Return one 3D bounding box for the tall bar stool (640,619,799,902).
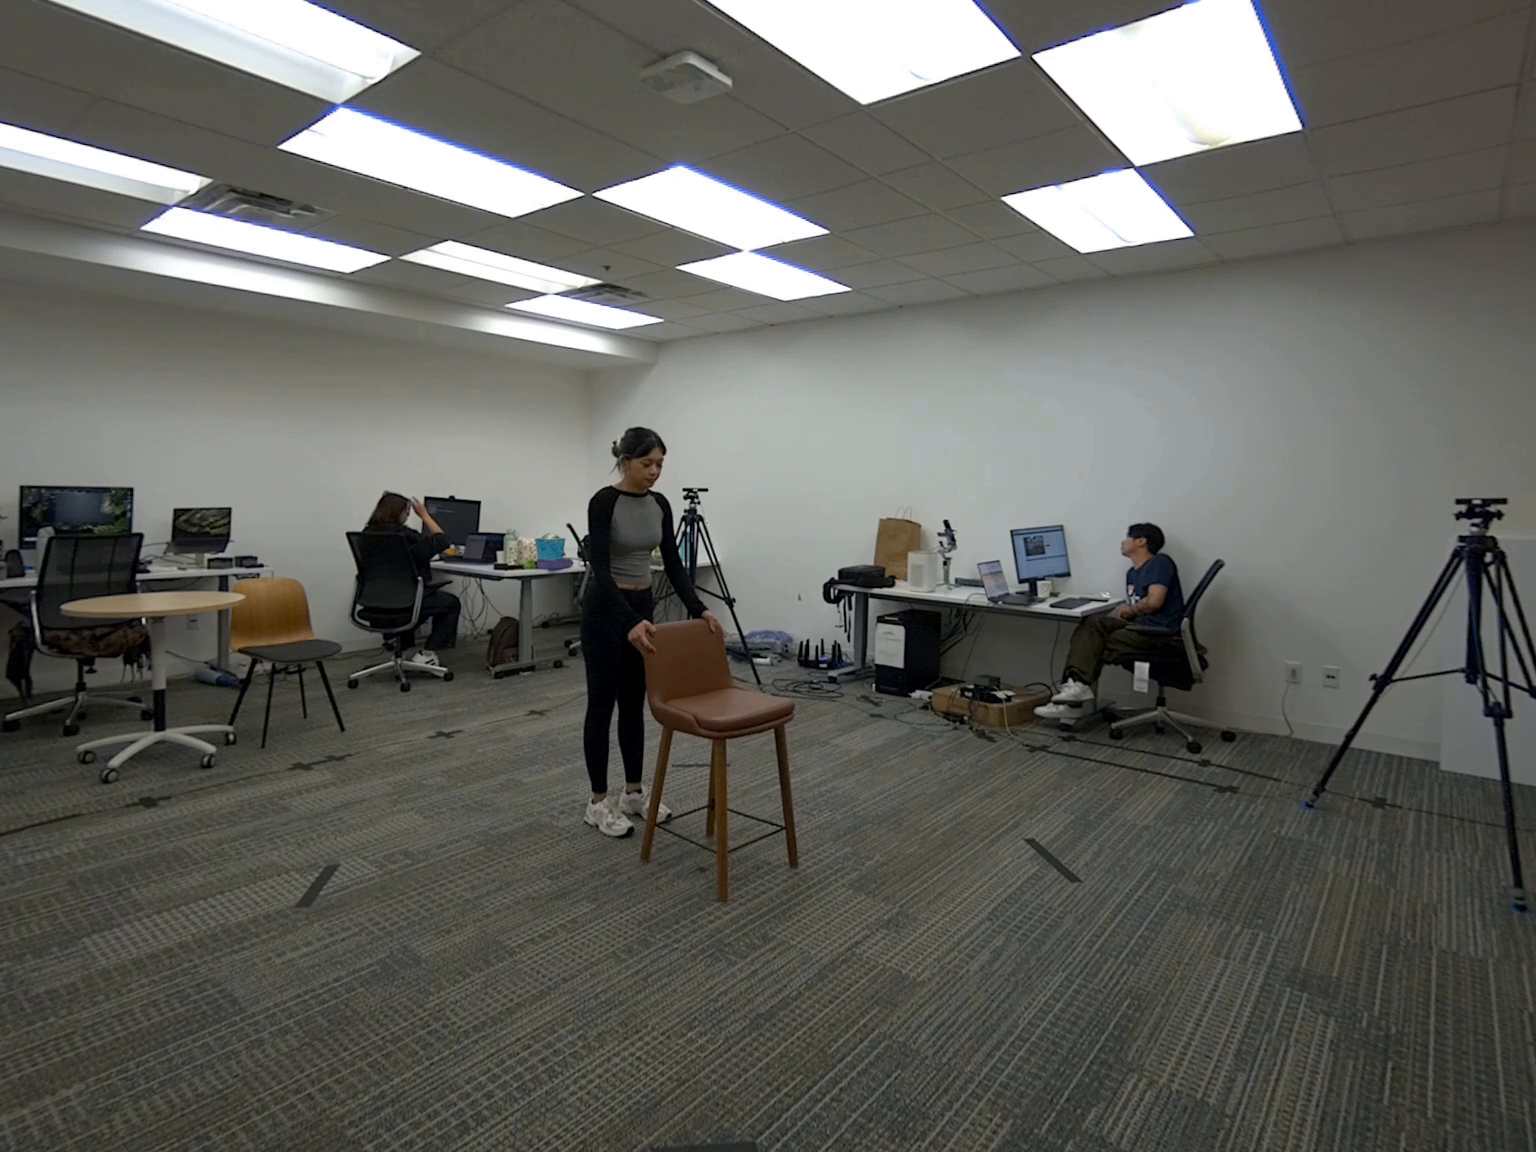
[{"bbox_3d":[-0.193,0.627,3.145,0.483,0.889,0.442,1,2,42],"label":"tall bar stool"}]
